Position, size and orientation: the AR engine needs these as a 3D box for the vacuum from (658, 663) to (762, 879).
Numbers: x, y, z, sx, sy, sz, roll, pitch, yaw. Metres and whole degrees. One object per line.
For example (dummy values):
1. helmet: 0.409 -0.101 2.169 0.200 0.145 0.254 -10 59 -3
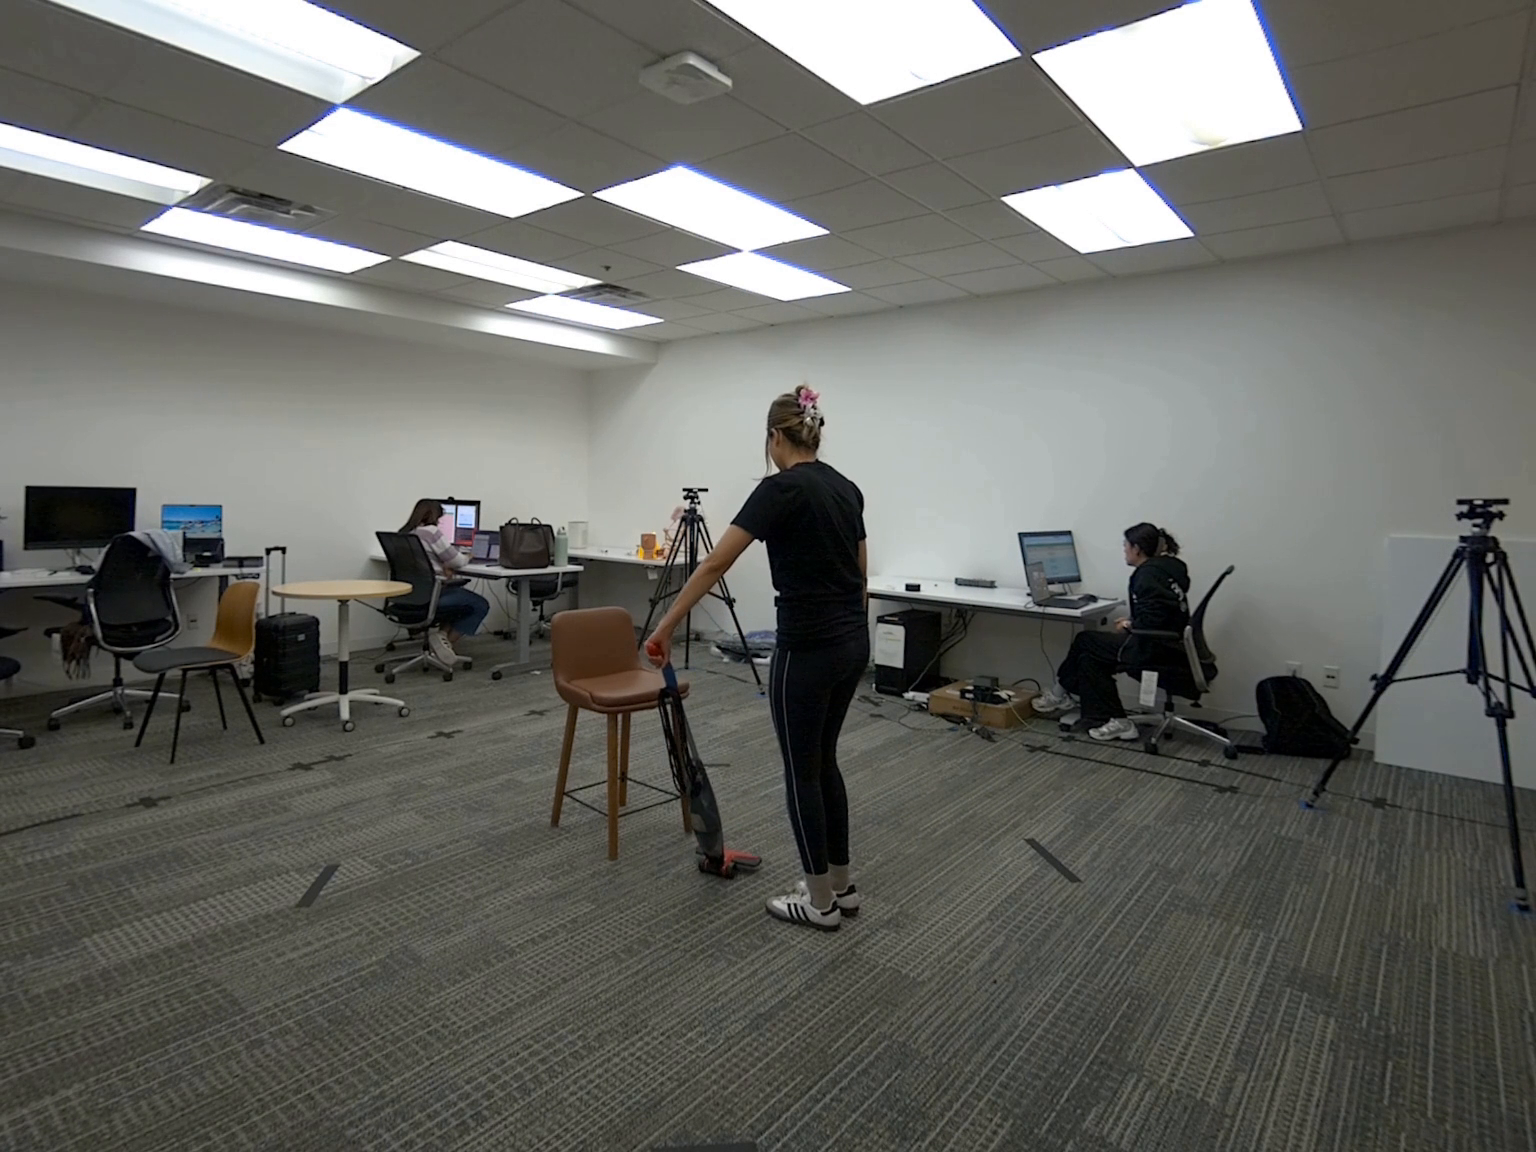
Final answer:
1. vacuum: -0.272 0.644 2.847 0.259 1.015 0.145 3 37 26
